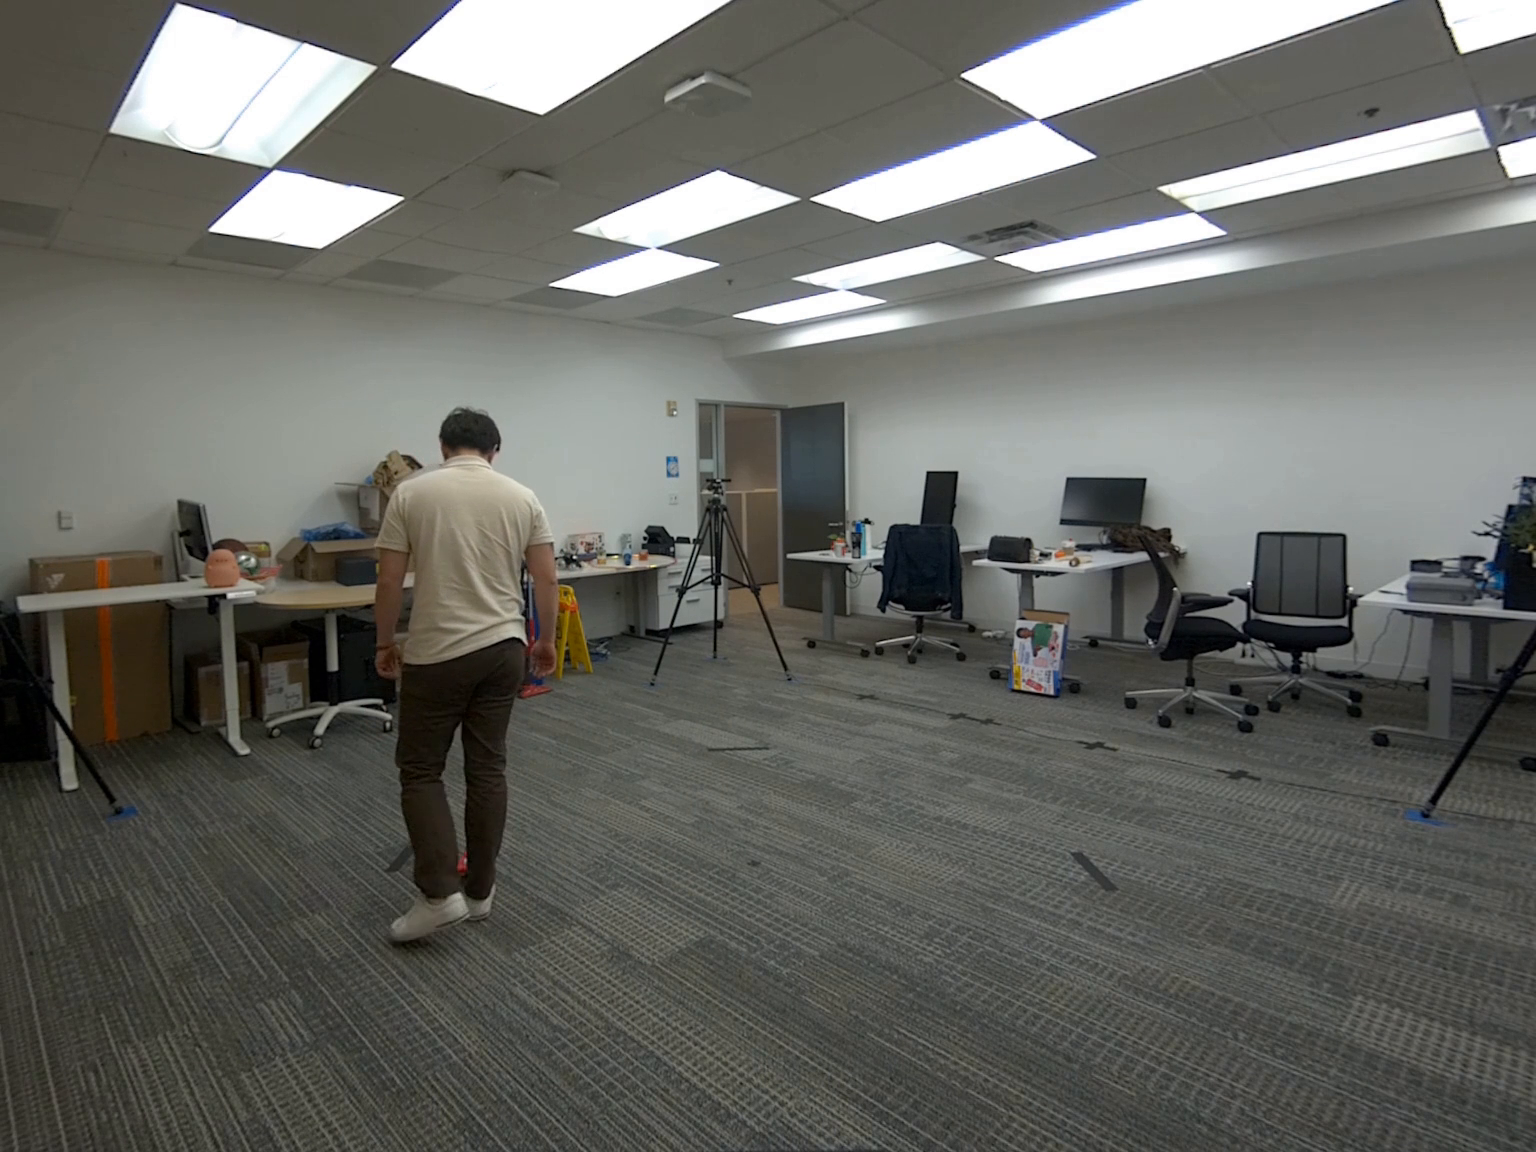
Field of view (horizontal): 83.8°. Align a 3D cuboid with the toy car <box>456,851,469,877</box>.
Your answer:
[{"bbox_3d":[-1.068,1.039,3.110,0.130,0.084,0.254,-2,-5,-4],"label":"toy car"}]
